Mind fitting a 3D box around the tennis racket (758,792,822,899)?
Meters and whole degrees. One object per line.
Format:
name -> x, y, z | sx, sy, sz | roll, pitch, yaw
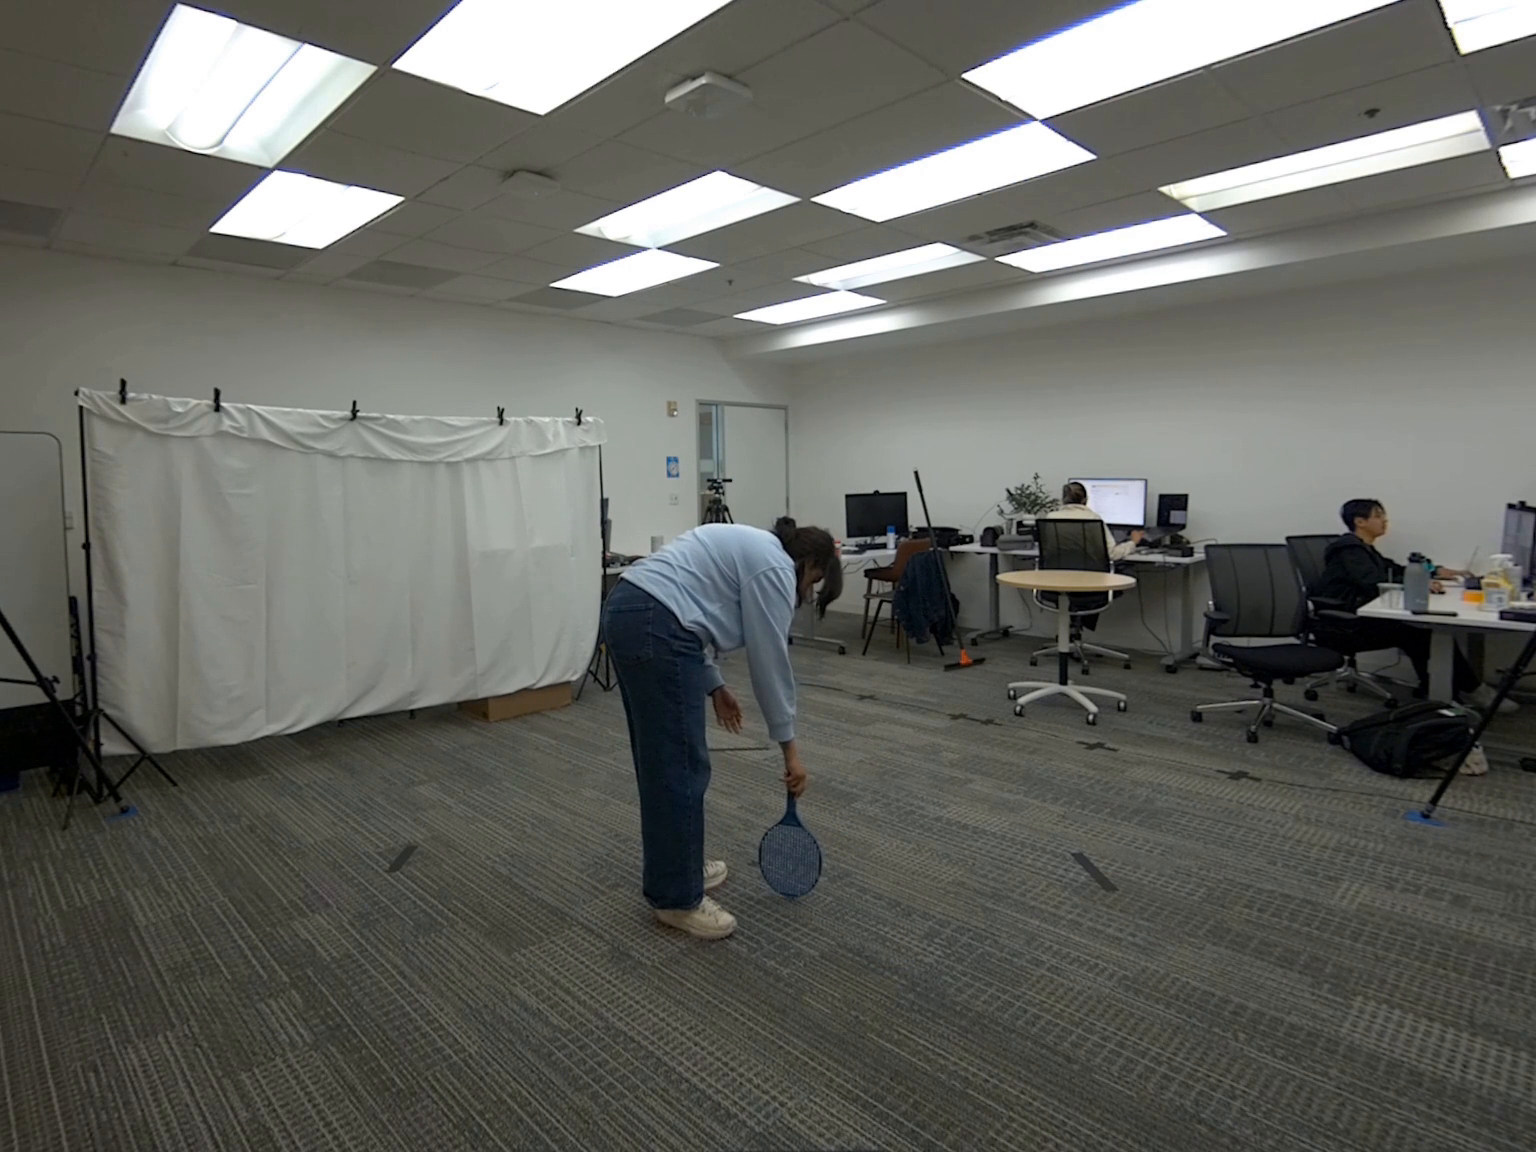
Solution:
tennis racket -> 0.077, 0.852, 2.806 | 0.217, 0.429, 0.031 | 5, 10, 16
